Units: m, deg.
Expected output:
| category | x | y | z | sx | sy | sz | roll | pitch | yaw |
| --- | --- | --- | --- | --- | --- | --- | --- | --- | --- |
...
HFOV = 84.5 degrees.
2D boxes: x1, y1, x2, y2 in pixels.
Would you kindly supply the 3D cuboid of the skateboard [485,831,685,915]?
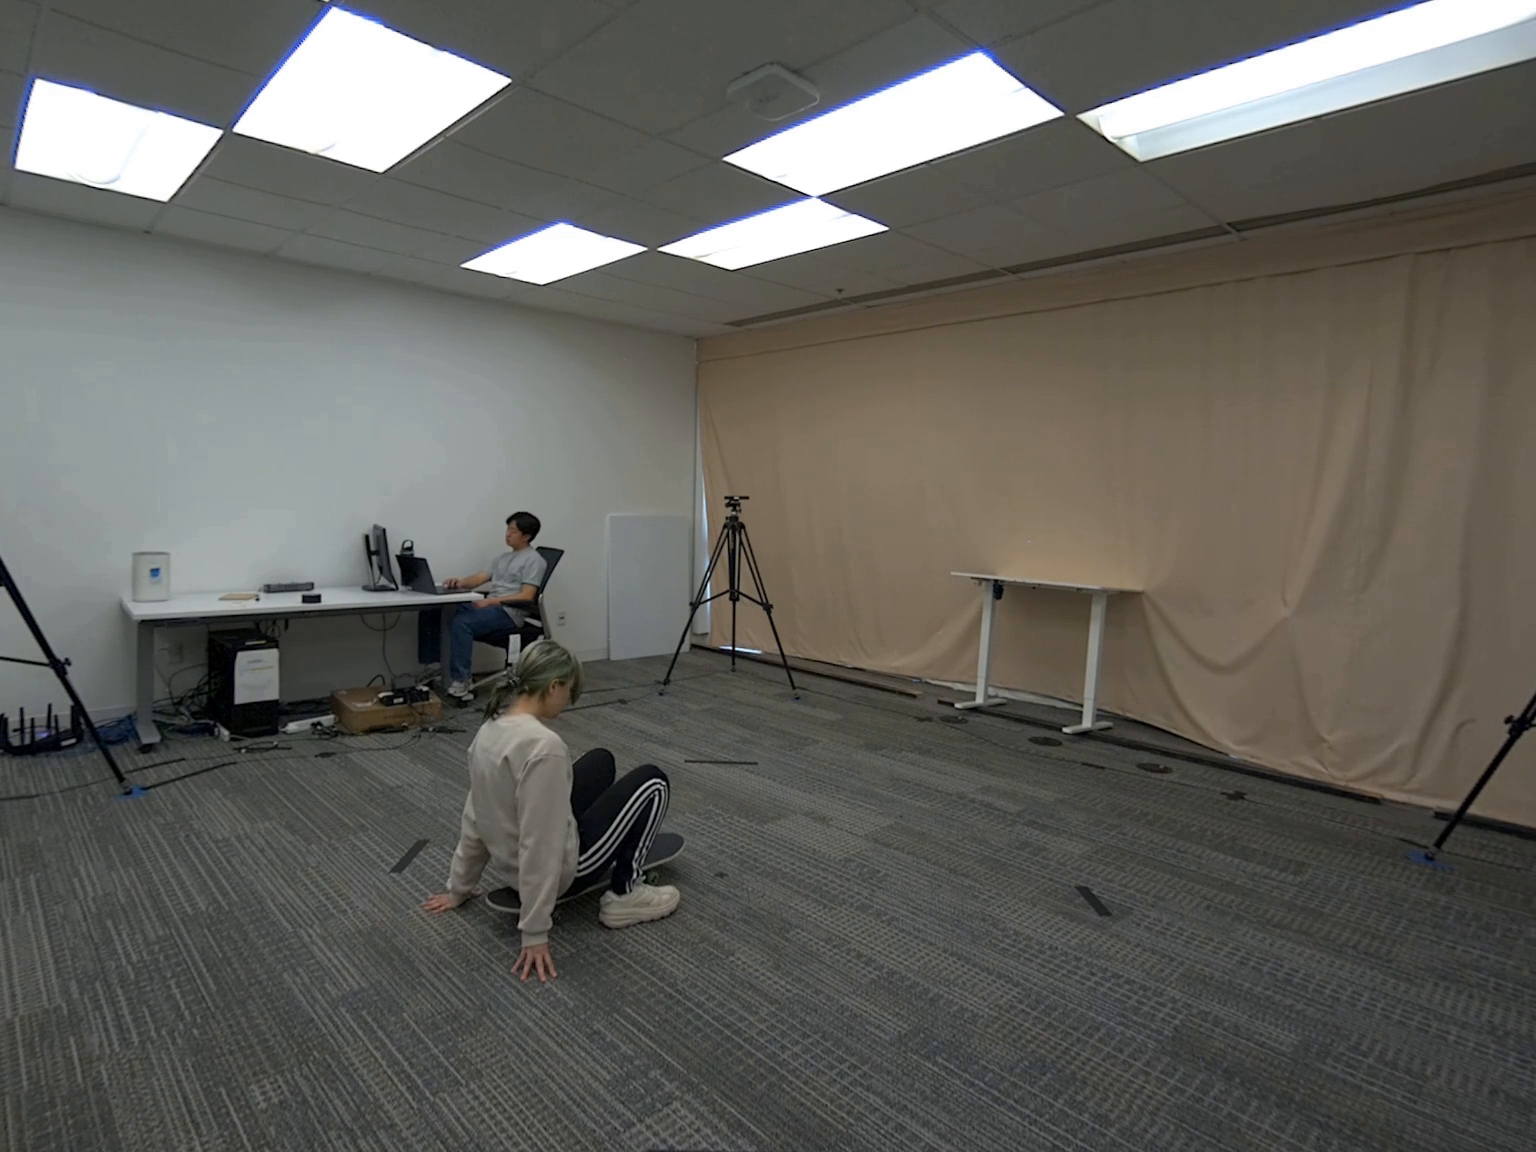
| category | x | y | z | sx | sy | sz | roll | pitch | yaw |
| --- | --- | --- | --- | --- | --- | --- | --- | --- | --- |
| skateboard | -0.616 | 1.060 | 2.911 | 0.198 | 0.110 | 0.768 | 7 | 8 | 43 |
